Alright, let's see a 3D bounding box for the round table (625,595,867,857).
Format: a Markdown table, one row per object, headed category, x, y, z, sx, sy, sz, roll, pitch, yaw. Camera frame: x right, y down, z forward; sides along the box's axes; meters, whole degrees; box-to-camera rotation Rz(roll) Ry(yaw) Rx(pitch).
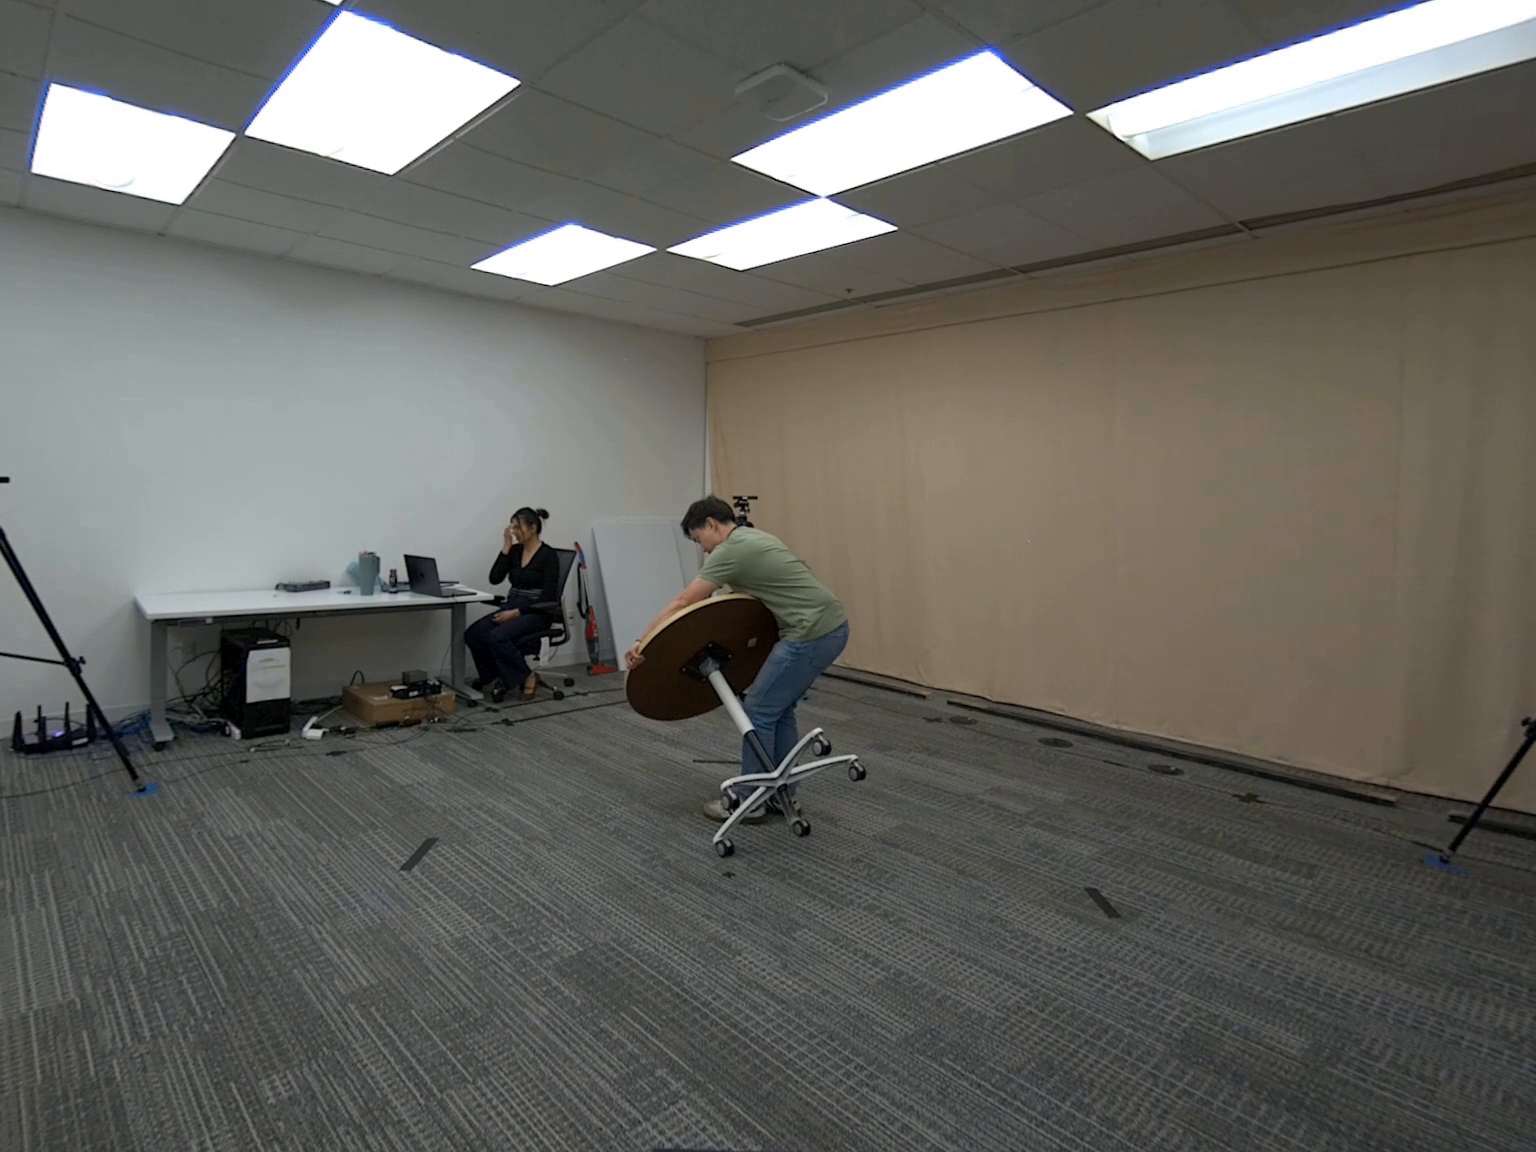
| category | x | y | z | sx | sy | sz | roll | pitch | yaw |
| --- | --- | --- | --- | --- | --- | --- | --- | --- | --- |
| round table | -0.105 | 0.620 | 3.477 | 0.747 | 0.757 | 0.819 | -2 | 41 | -36 |
